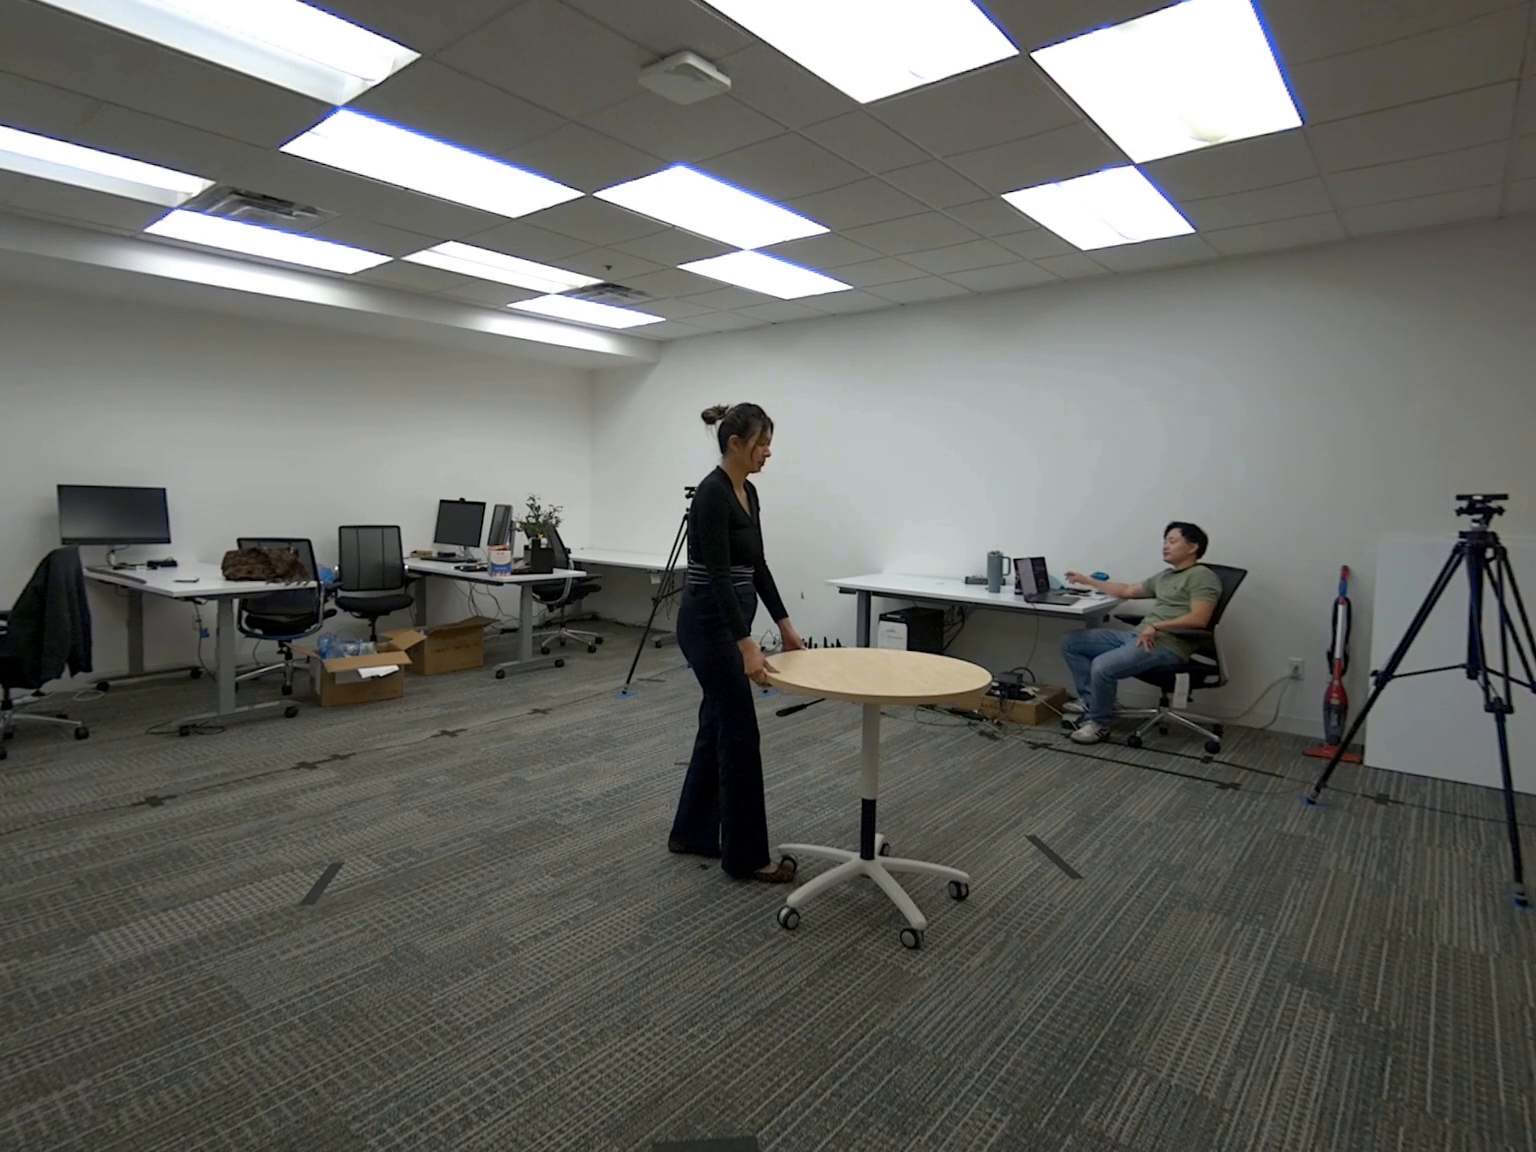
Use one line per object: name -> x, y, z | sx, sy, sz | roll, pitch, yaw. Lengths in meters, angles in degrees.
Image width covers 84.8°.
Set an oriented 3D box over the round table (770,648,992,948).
round table -> 0.339, 0.707, 2.886 | 0.763, 0.791, 0.768 | 1, 4, -2
